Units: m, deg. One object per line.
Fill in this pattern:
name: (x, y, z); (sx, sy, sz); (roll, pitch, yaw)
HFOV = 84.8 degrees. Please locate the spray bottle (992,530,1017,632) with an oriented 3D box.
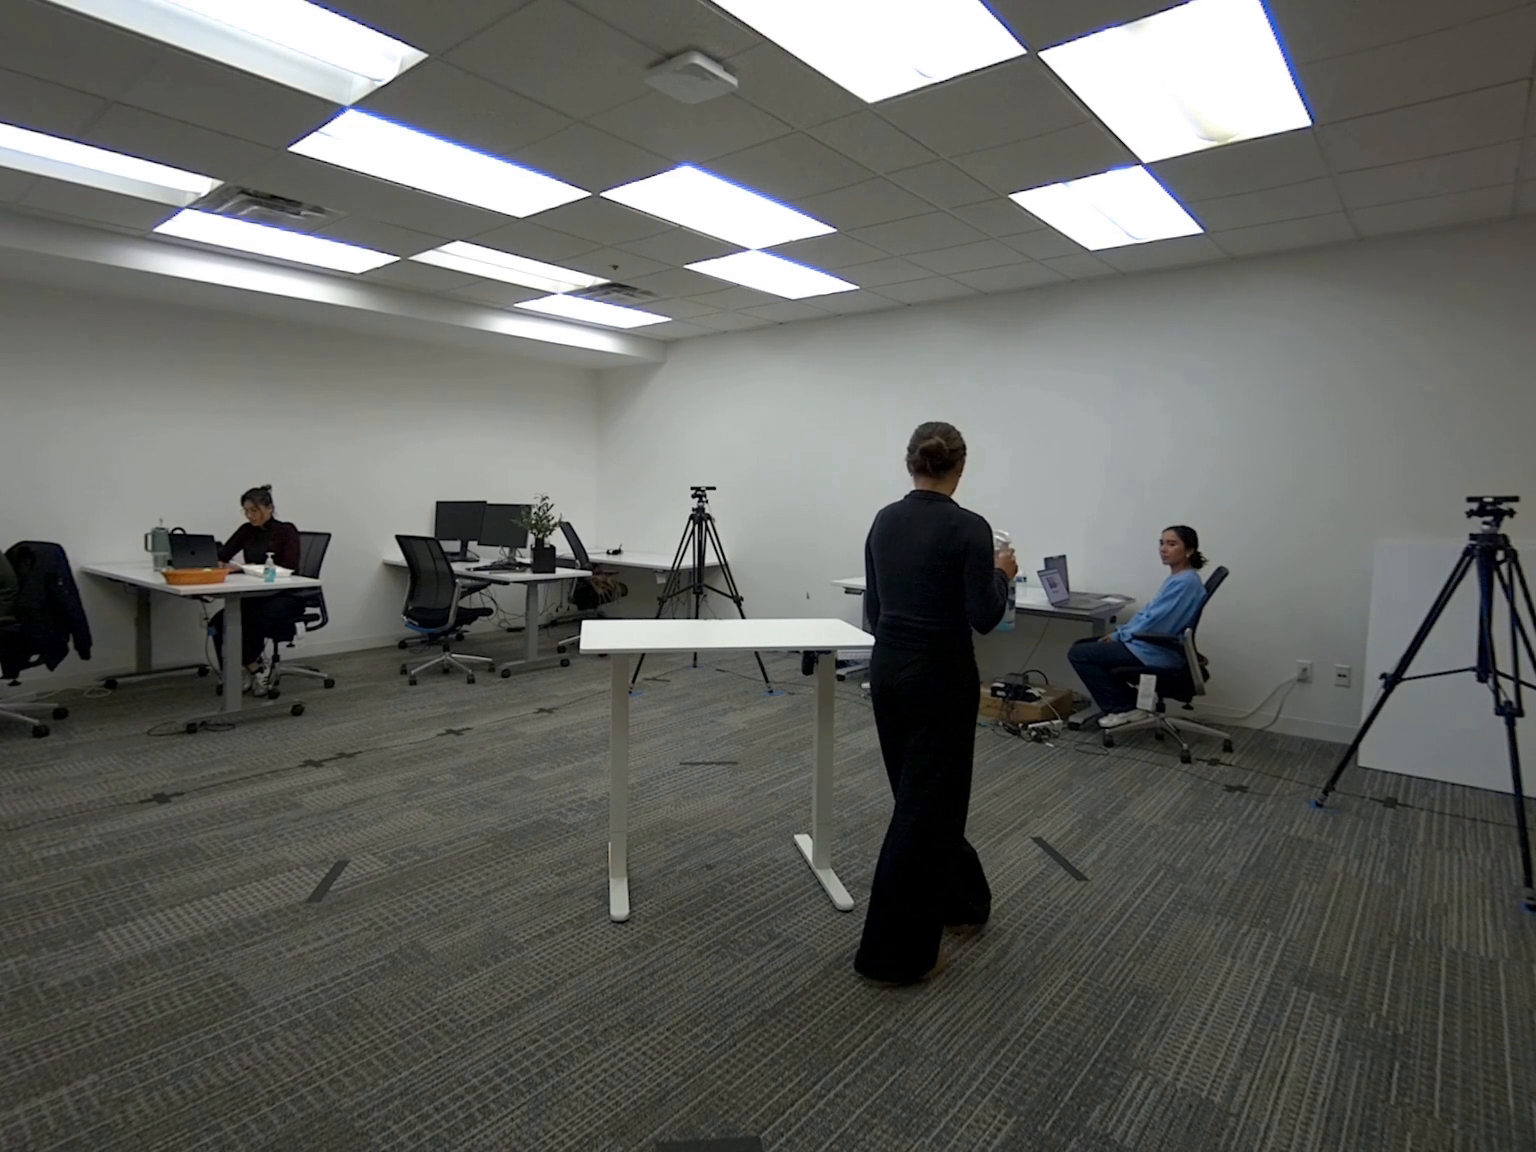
spray bottle: (0.707, 0.007, 2.594); (0.088, 0.296, 0.089); (2, 3, 15)
